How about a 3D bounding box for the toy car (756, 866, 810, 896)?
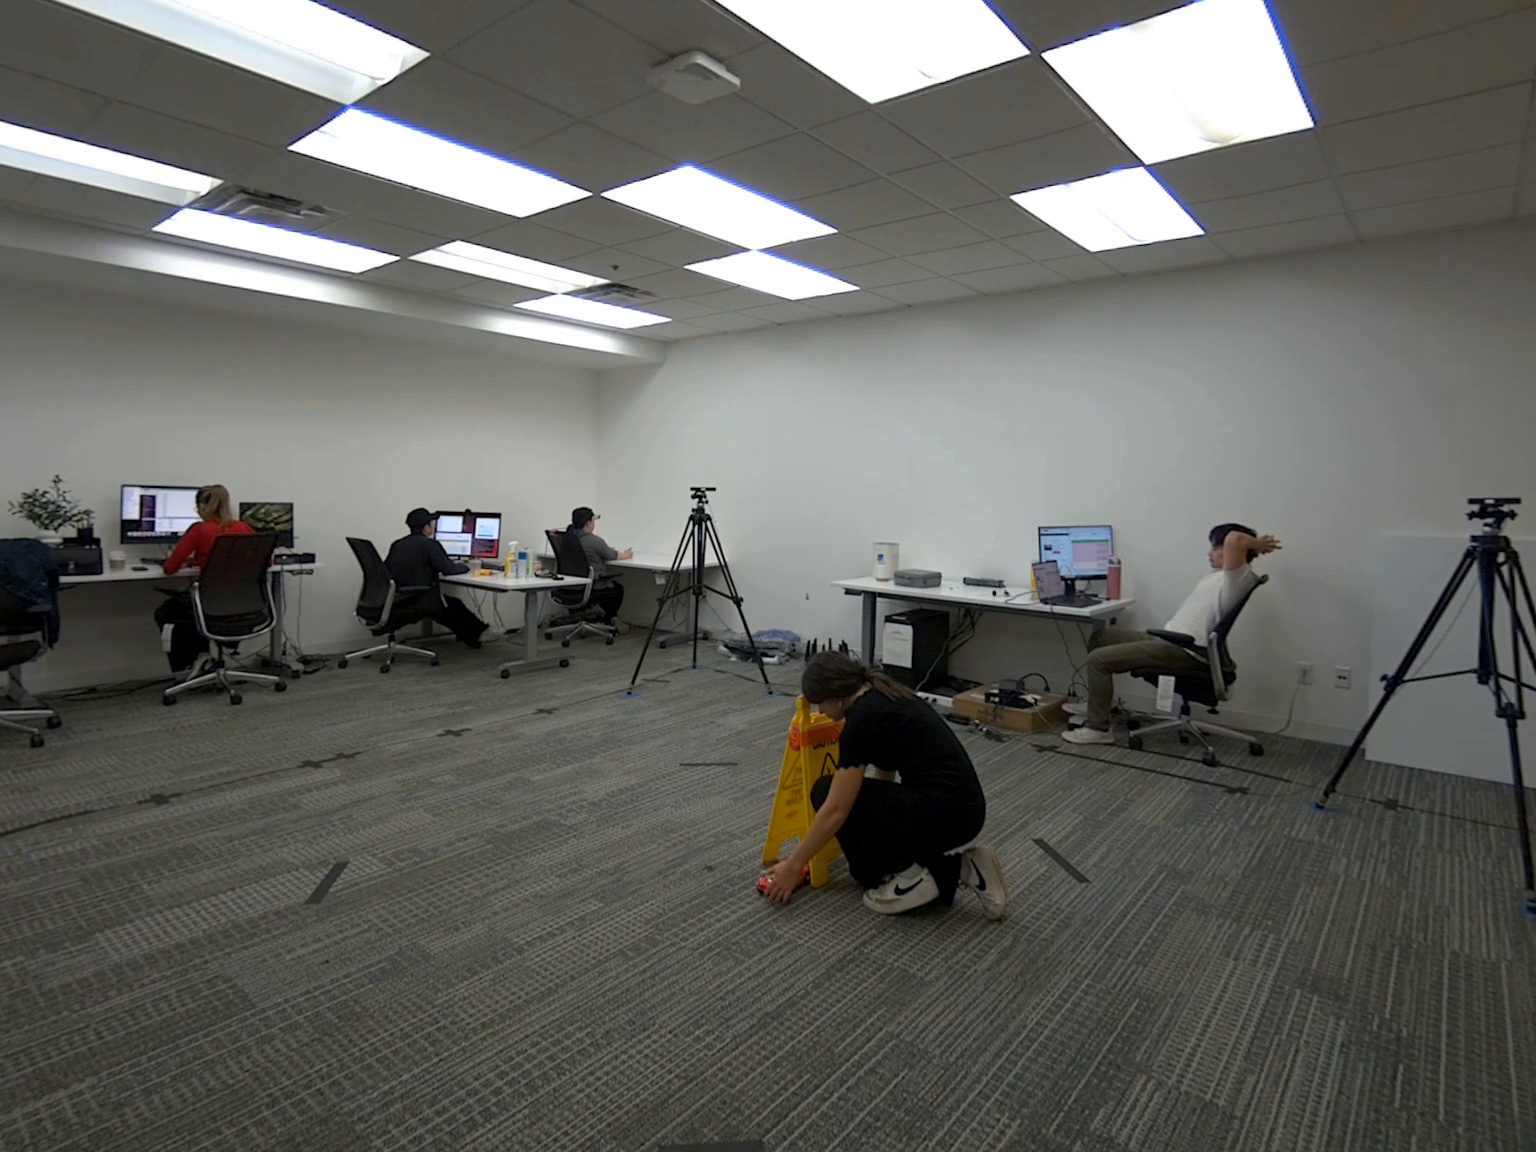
[{"bbox_3d":[0.061,1.047,2.987,0.134,0.082,0.250,5,16,31],"label":"toy car"}]
